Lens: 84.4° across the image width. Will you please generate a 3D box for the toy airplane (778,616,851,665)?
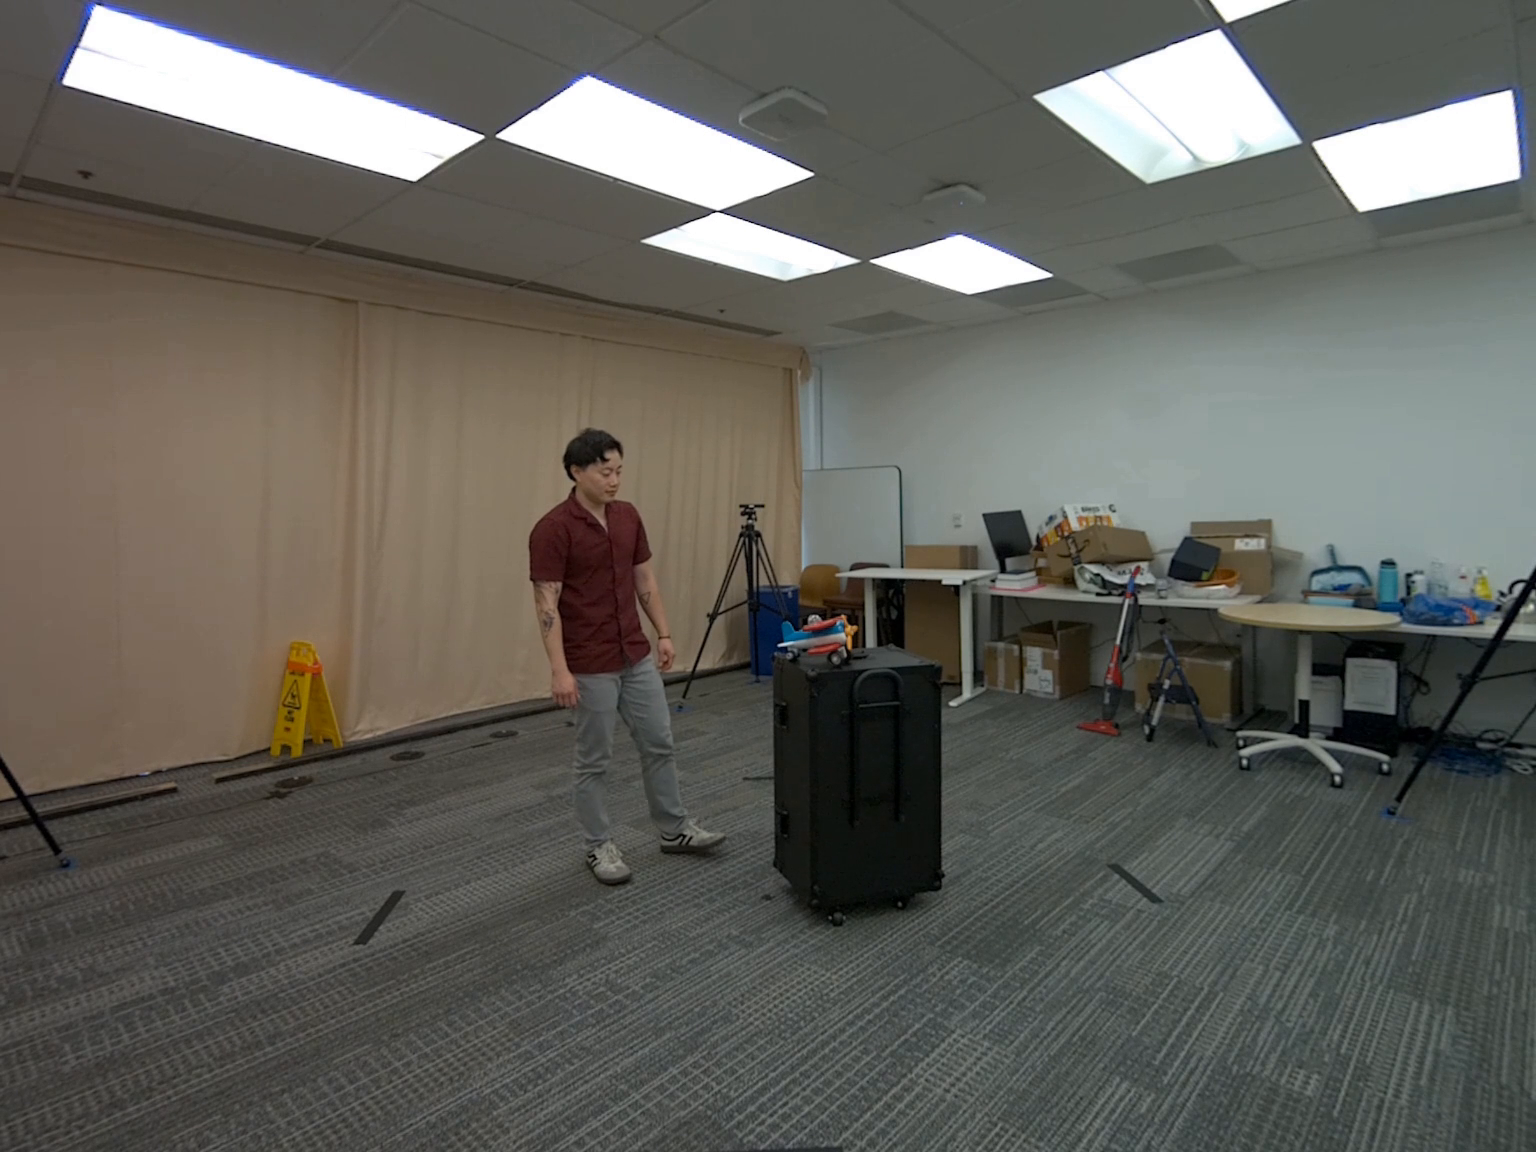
[{"bbox_3d":[0.160,0.217,2.850,0.260,0.156,0.251,0,4,1],"label":"toy airplane"}]
